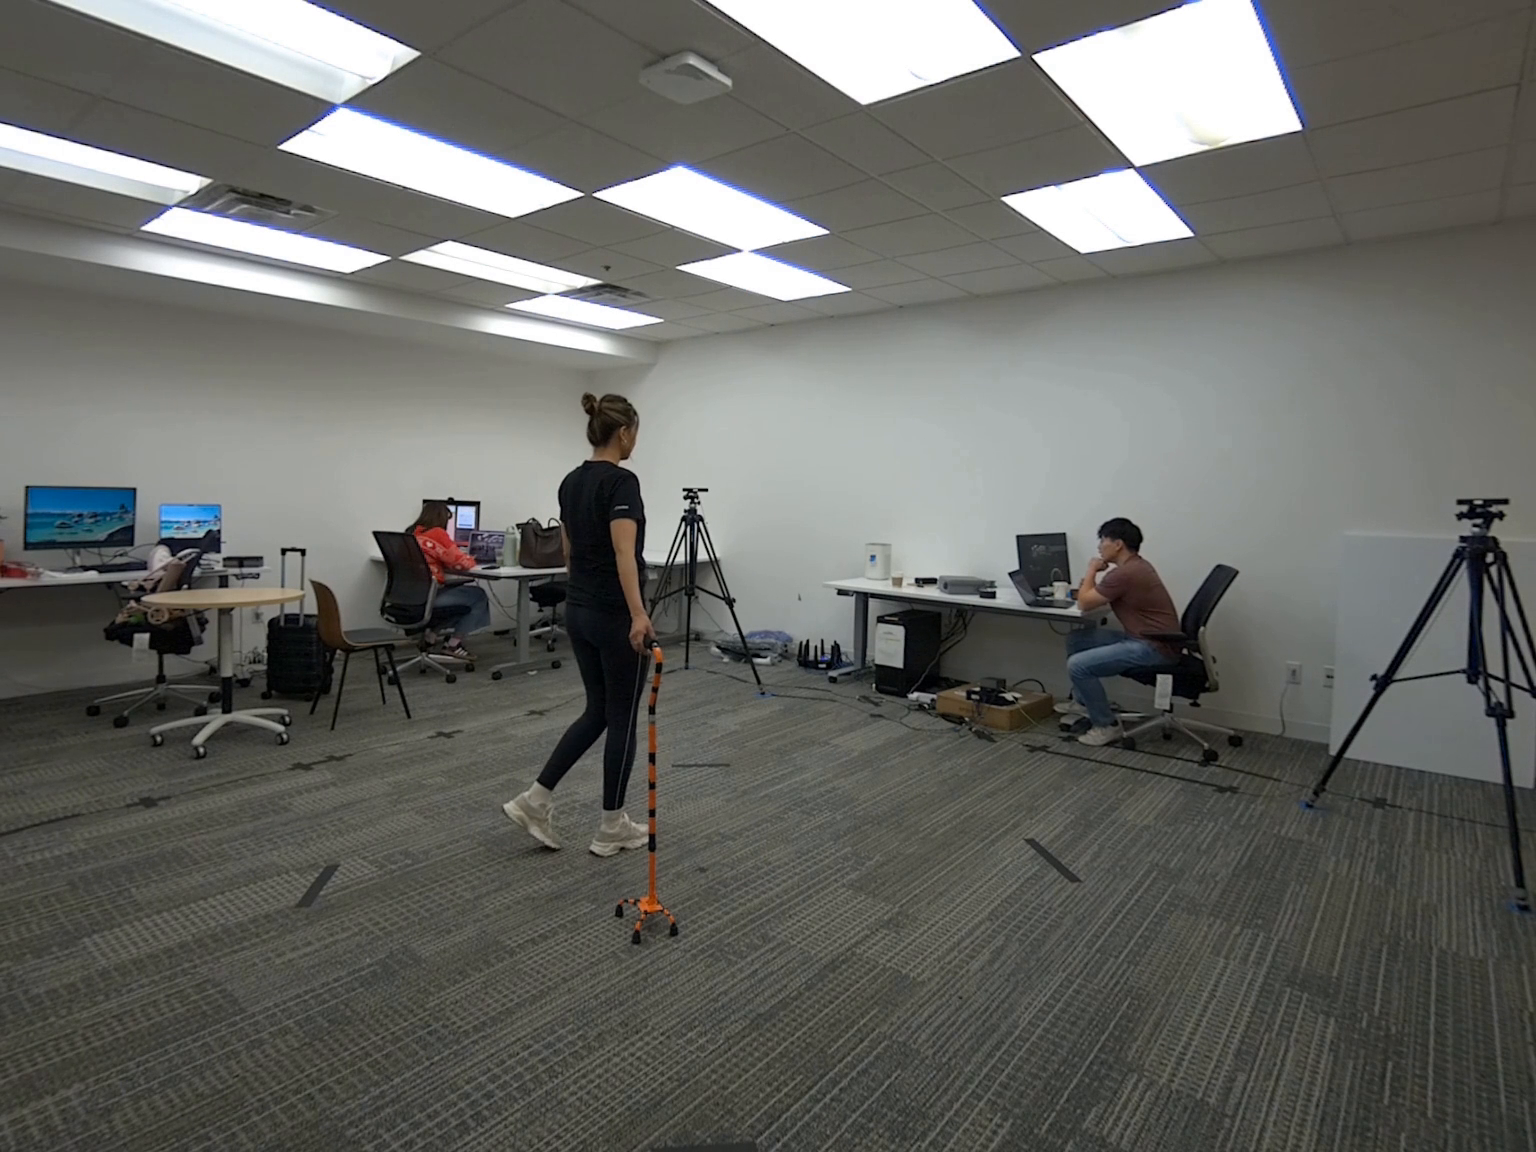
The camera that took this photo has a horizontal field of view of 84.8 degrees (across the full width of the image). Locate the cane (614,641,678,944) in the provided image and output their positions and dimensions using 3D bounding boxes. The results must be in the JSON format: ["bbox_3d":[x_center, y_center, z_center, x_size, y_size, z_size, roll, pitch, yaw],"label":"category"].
[{"bbox_3d":[-0.392,0.654,2.683,0.148,0.906,0.212,0,2,-25],"label":"cane"}]
